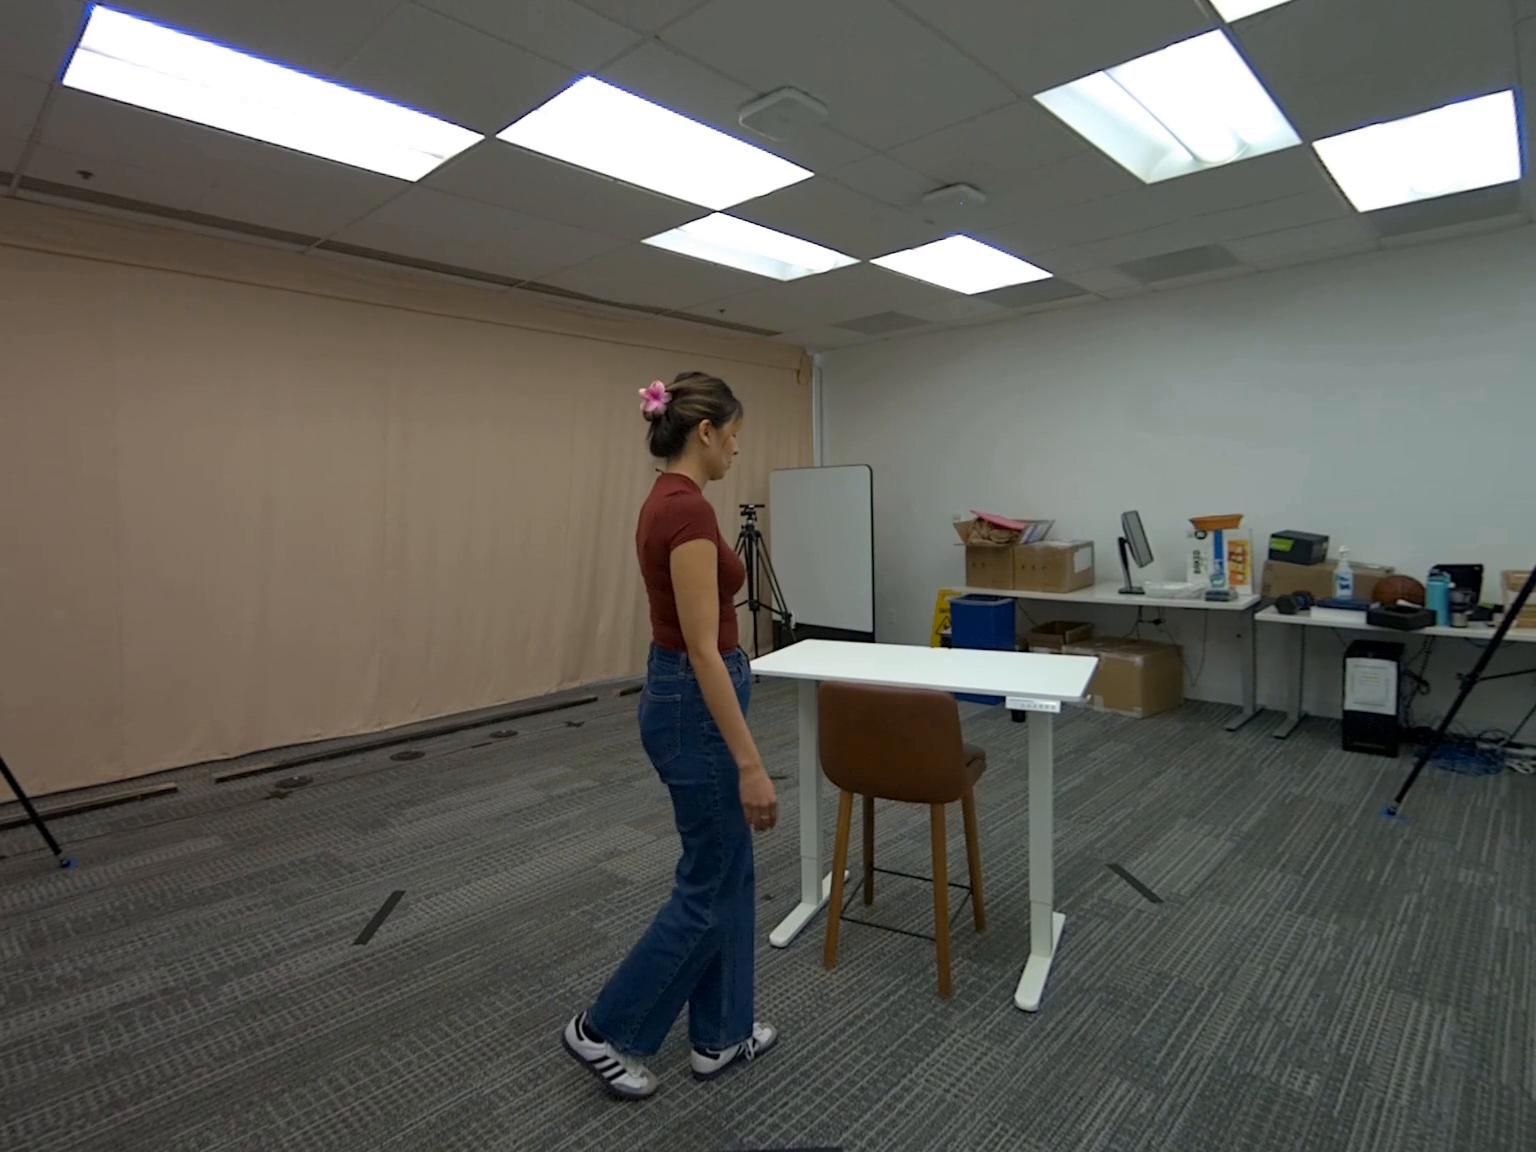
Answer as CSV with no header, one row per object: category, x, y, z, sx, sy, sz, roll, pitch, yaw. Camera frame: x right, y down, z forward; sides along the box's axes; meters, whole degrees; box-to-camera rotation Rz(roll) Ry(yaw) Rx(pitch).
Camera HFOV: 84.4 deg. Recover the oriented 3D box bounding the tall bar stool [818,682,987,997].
tall bar stool,0.427,0.734,2.615,0.469,0.887,0.457,1,5,27
